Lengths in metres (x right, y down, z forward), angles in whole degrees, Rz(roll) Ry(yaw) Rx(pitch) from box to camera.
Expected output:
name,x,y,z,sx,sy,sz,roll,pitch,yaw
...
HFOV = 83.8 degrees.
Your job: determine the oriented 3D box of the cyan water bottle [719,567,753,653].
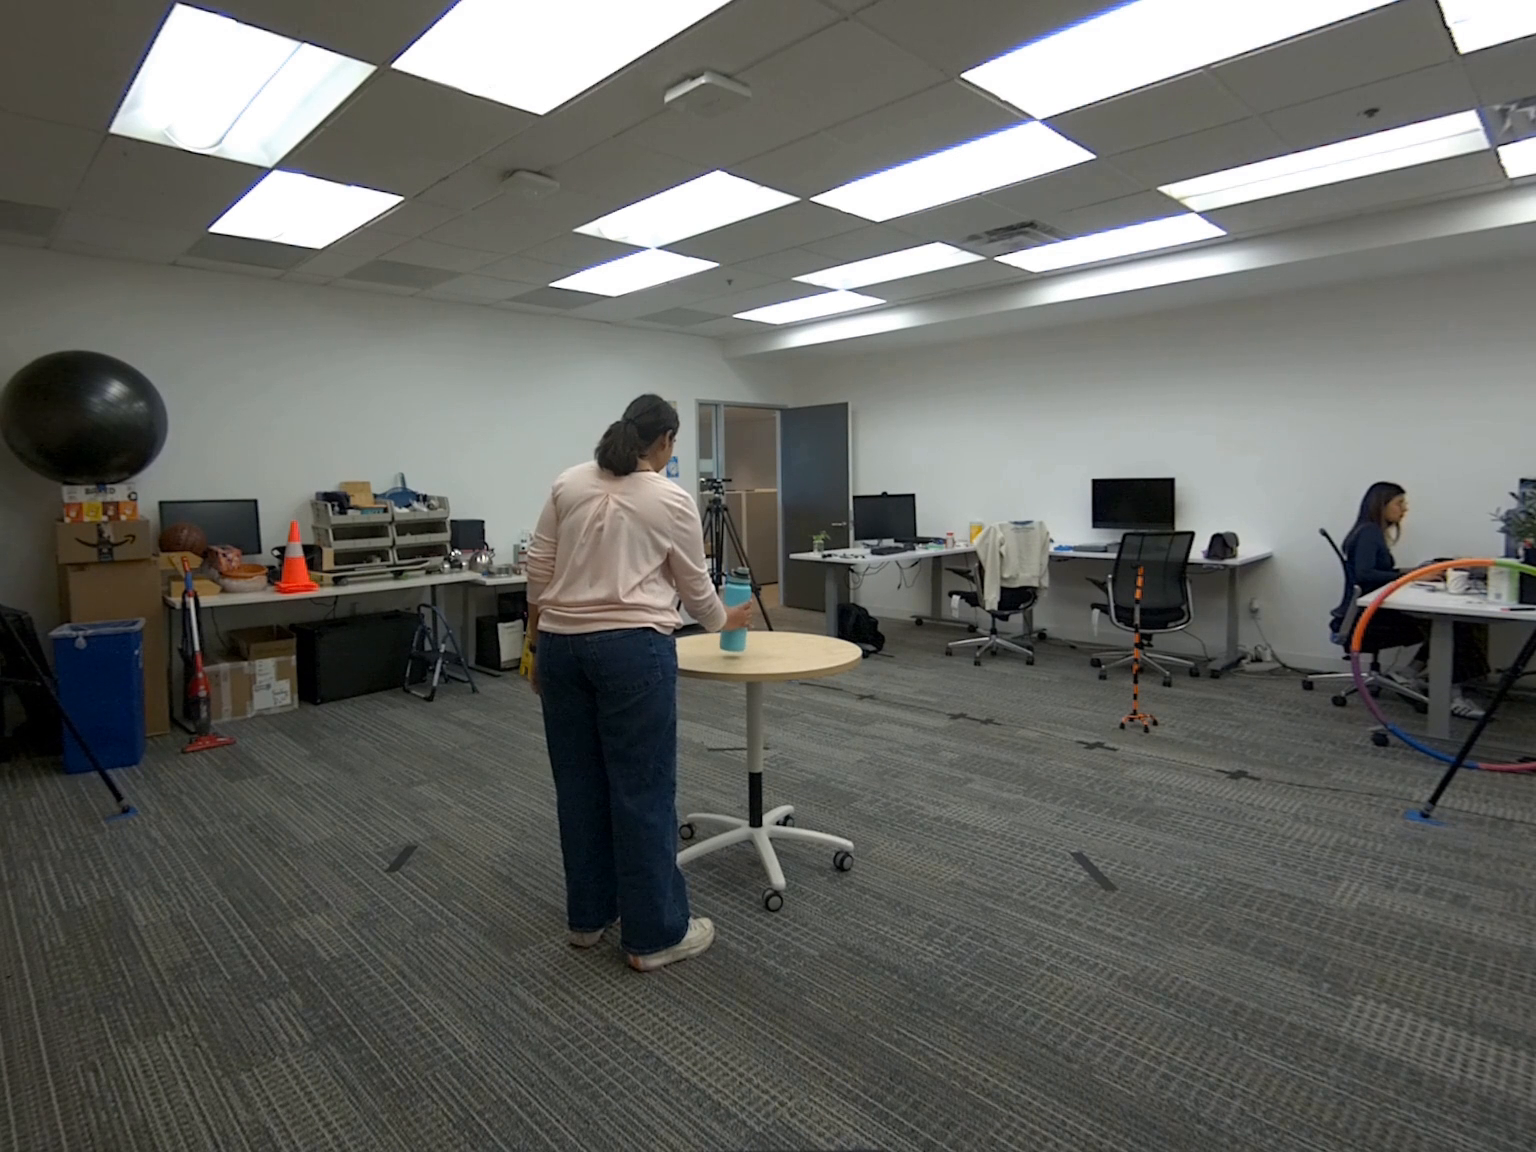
name,x,y,z,sx,sy,sz,roll,pitch,yaw
cyan water bottle,-0.109,0.112,2.932,0.092,0.283,0.092,5,1,-2
